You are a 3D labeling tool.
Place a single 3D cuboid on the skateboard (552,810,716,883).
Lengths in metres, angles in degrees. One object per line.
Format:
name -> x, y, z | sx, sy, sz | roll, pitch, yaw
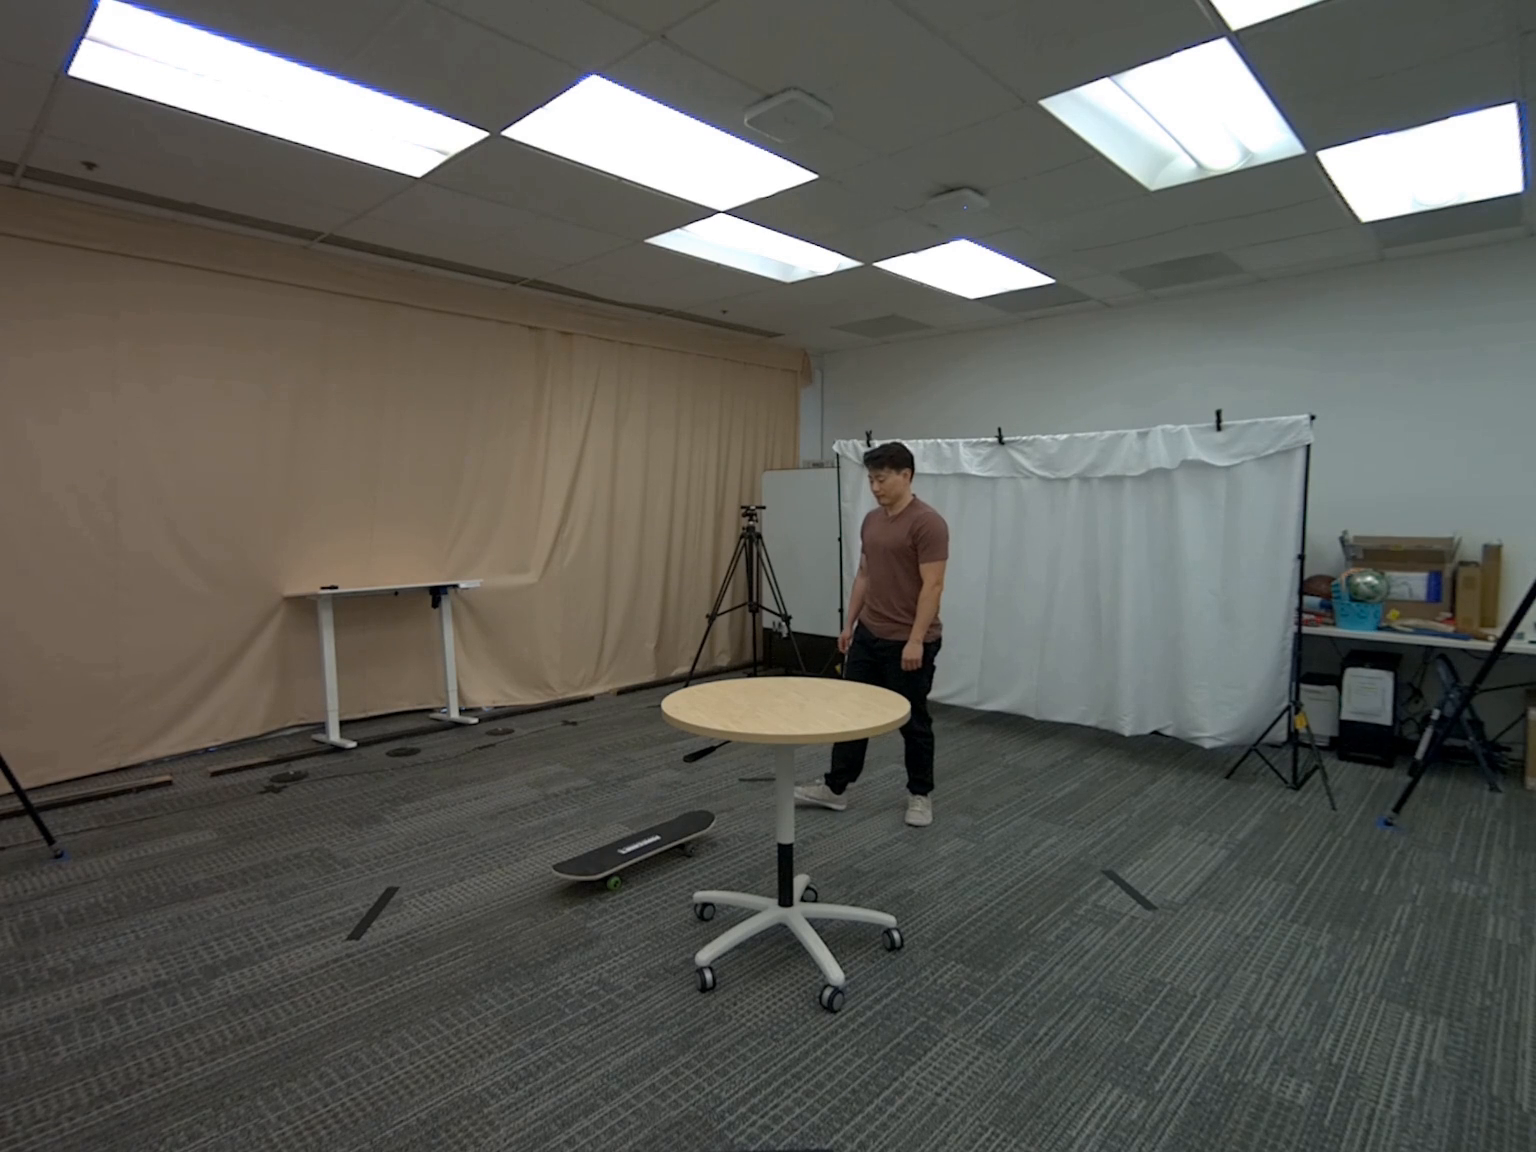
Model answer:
skateboard -> -0.500, 1.071, 3.253 | 0.200, 0.110, 0.762 | 2, 5, 41
